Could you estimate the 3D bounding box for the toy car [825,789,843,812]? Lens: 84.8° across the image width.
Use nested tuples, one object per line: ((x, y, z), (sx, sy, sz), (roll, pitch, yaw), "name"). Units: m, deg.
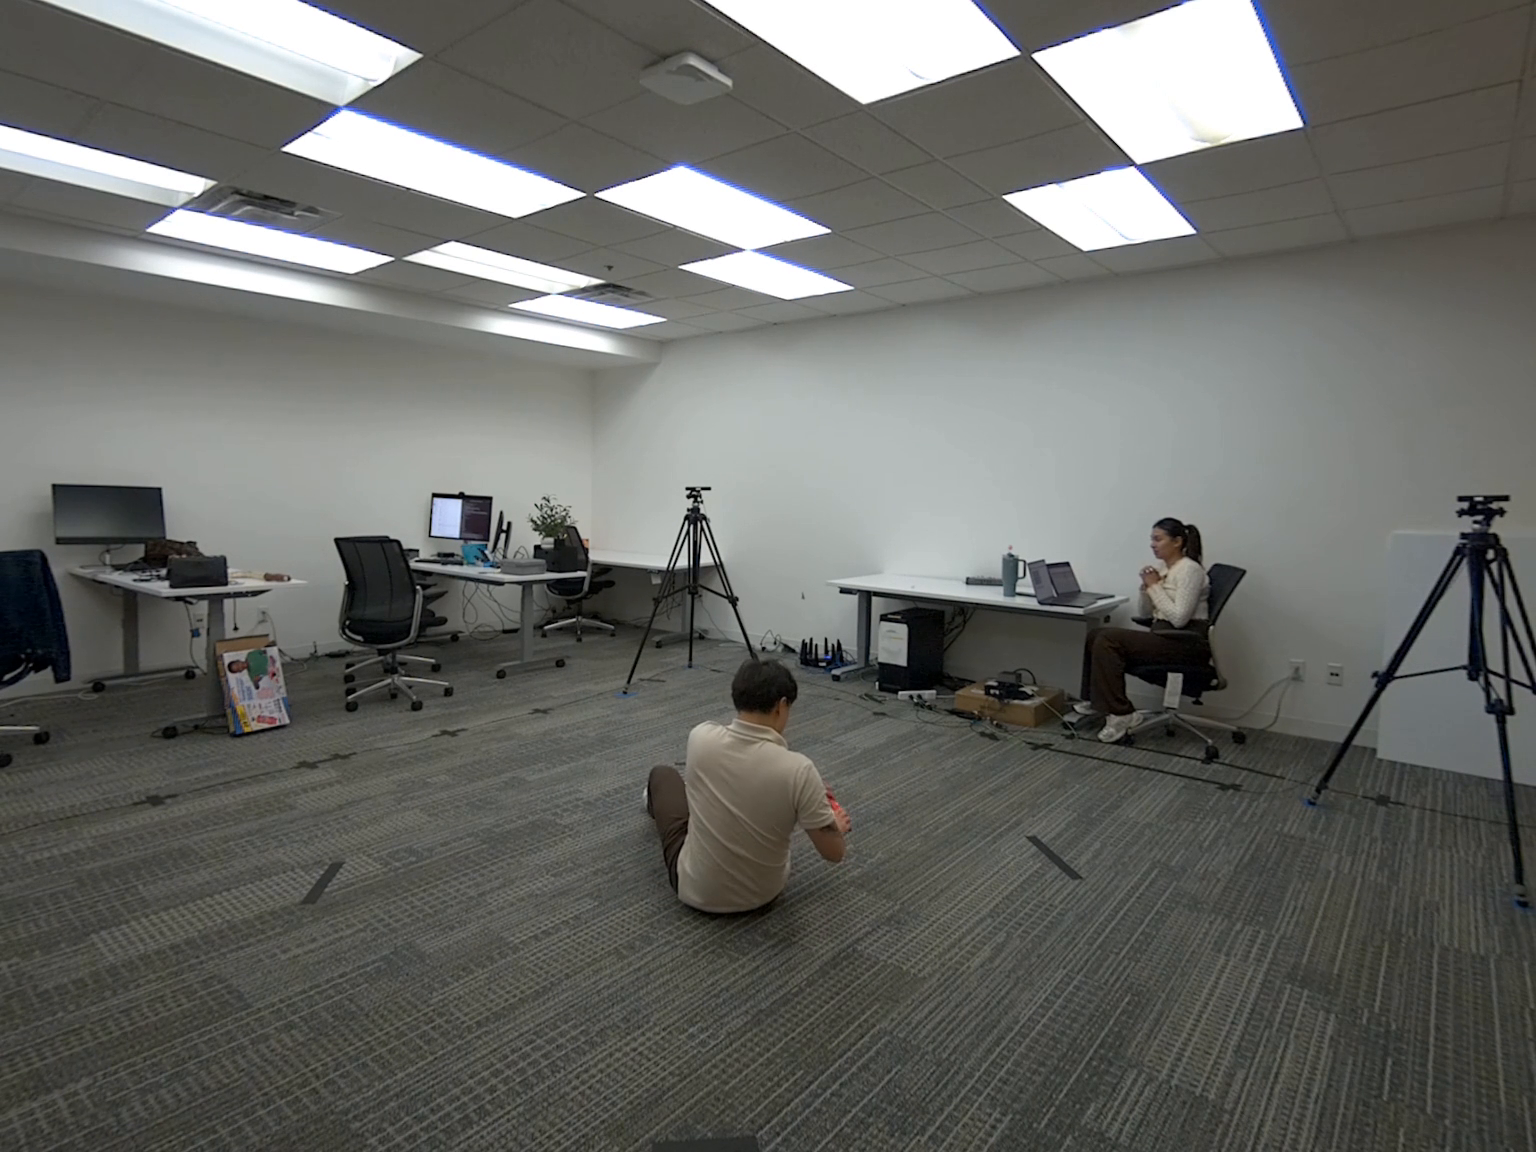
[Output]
((0.164, 0.844, 3.032), (0.129, 0.082, 0.260), (-24, 14, -11), "toy car")
